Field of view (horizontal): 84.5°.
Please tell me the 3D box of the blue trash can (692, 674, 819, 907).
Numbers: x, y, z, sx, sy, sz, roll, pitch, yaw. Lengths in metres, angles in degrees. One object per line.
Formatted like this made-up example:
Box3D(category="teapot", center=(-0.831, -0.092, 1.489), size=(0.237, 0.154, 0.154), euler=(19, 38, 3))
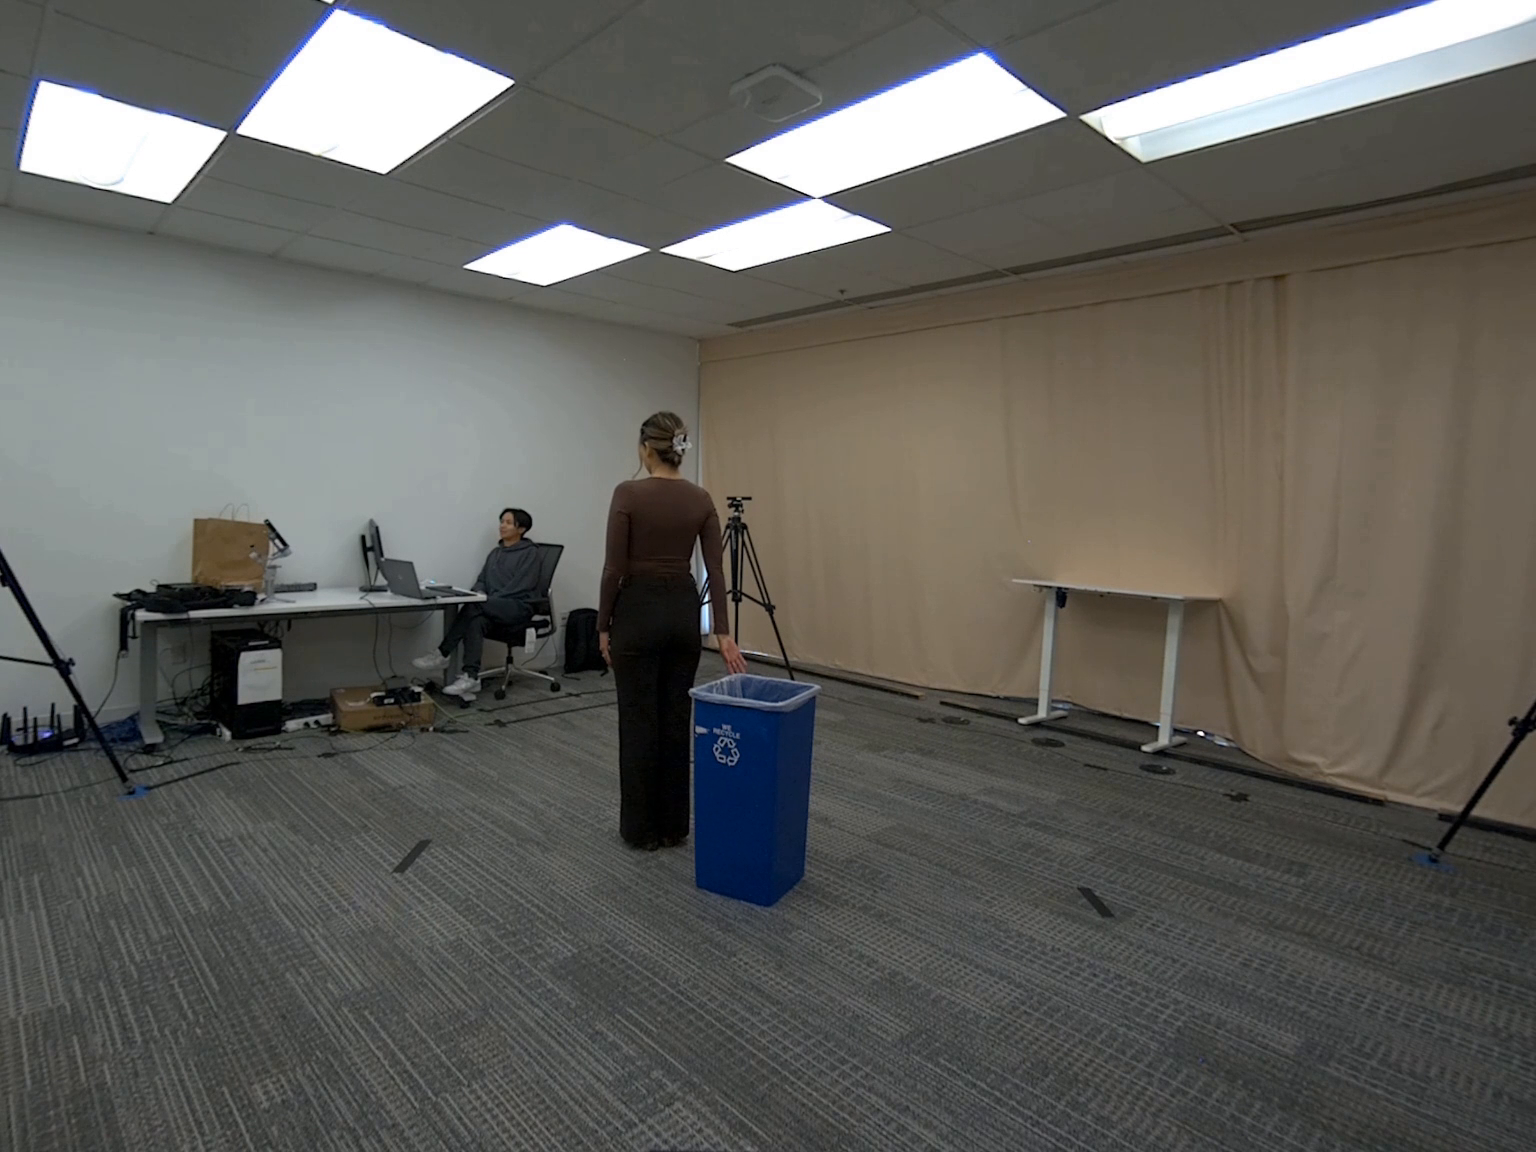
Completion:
Box3D(category="blue trash can", center=(-0.062, 0.754, 3.047), size=(0.386, 0.711, 0.367), euler=(3, 5, 27))
